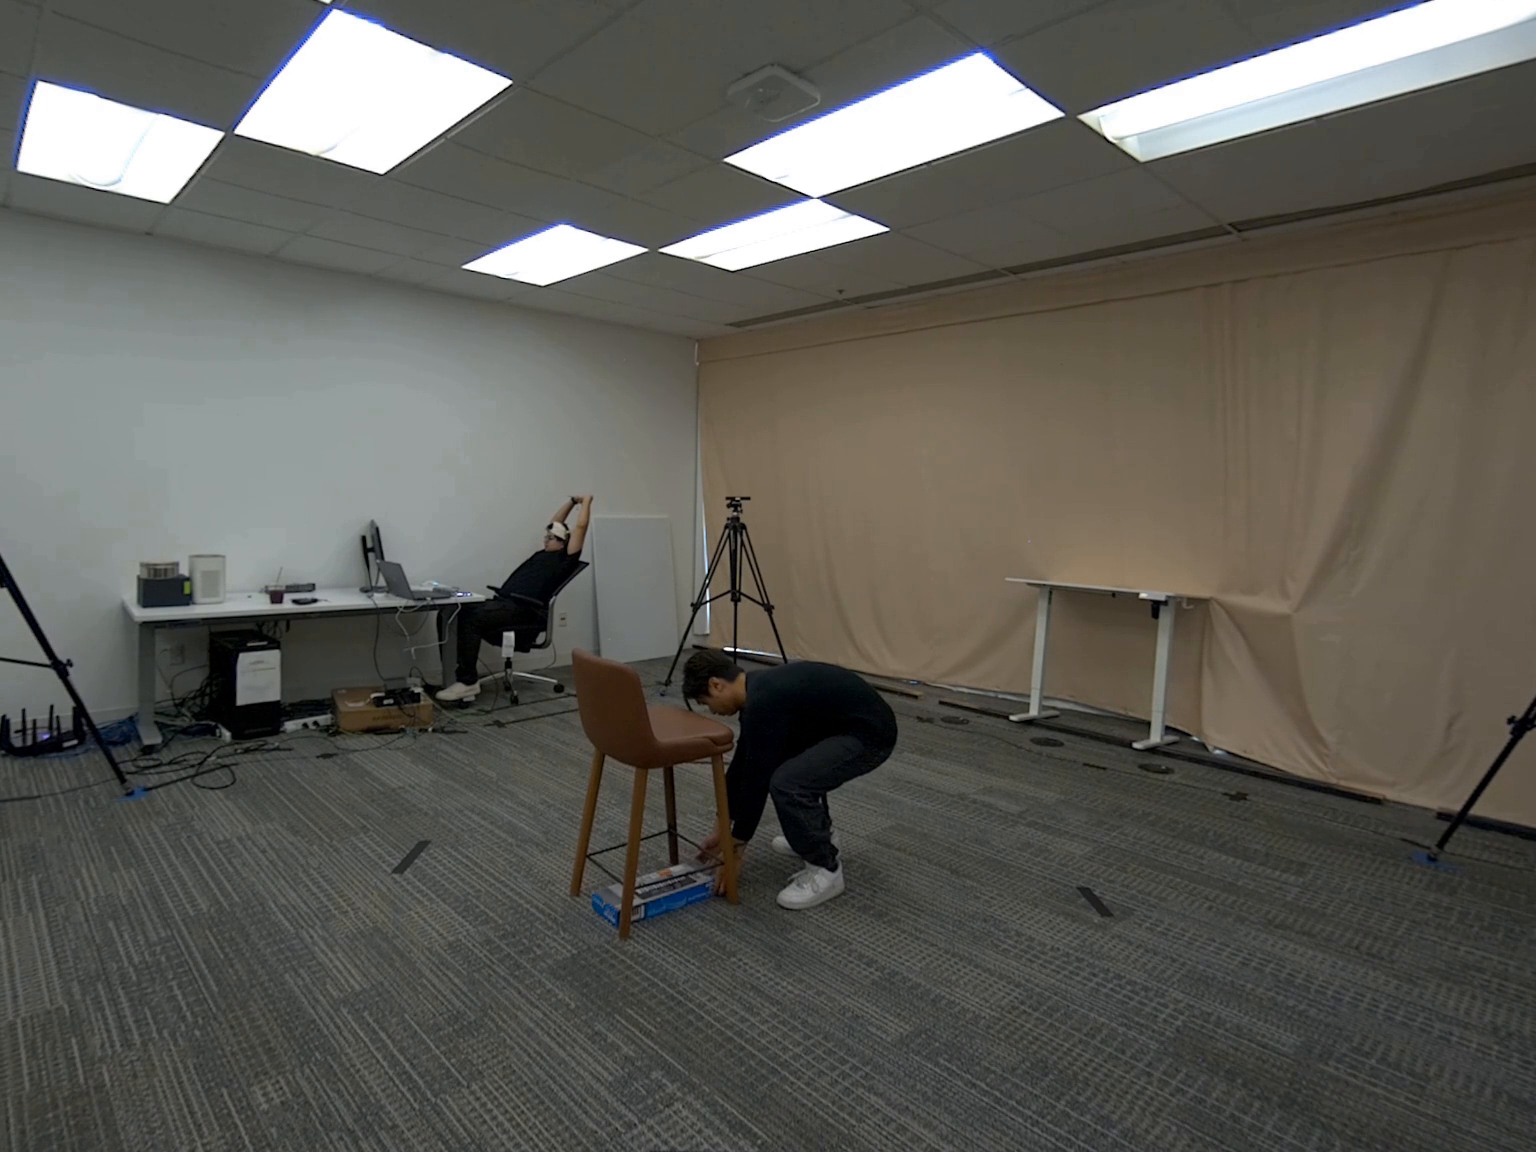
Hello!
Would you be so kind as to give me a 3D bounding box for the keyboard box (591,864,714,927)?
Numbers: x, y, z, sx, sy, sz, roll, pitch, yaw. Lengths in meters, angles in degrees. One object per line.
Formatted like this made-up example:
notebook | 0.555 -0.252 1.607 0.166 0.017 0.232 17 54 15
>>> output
keyboard box | -0.383 1.098 2.902 0.427 0.059 0.180 -3 4 -39
